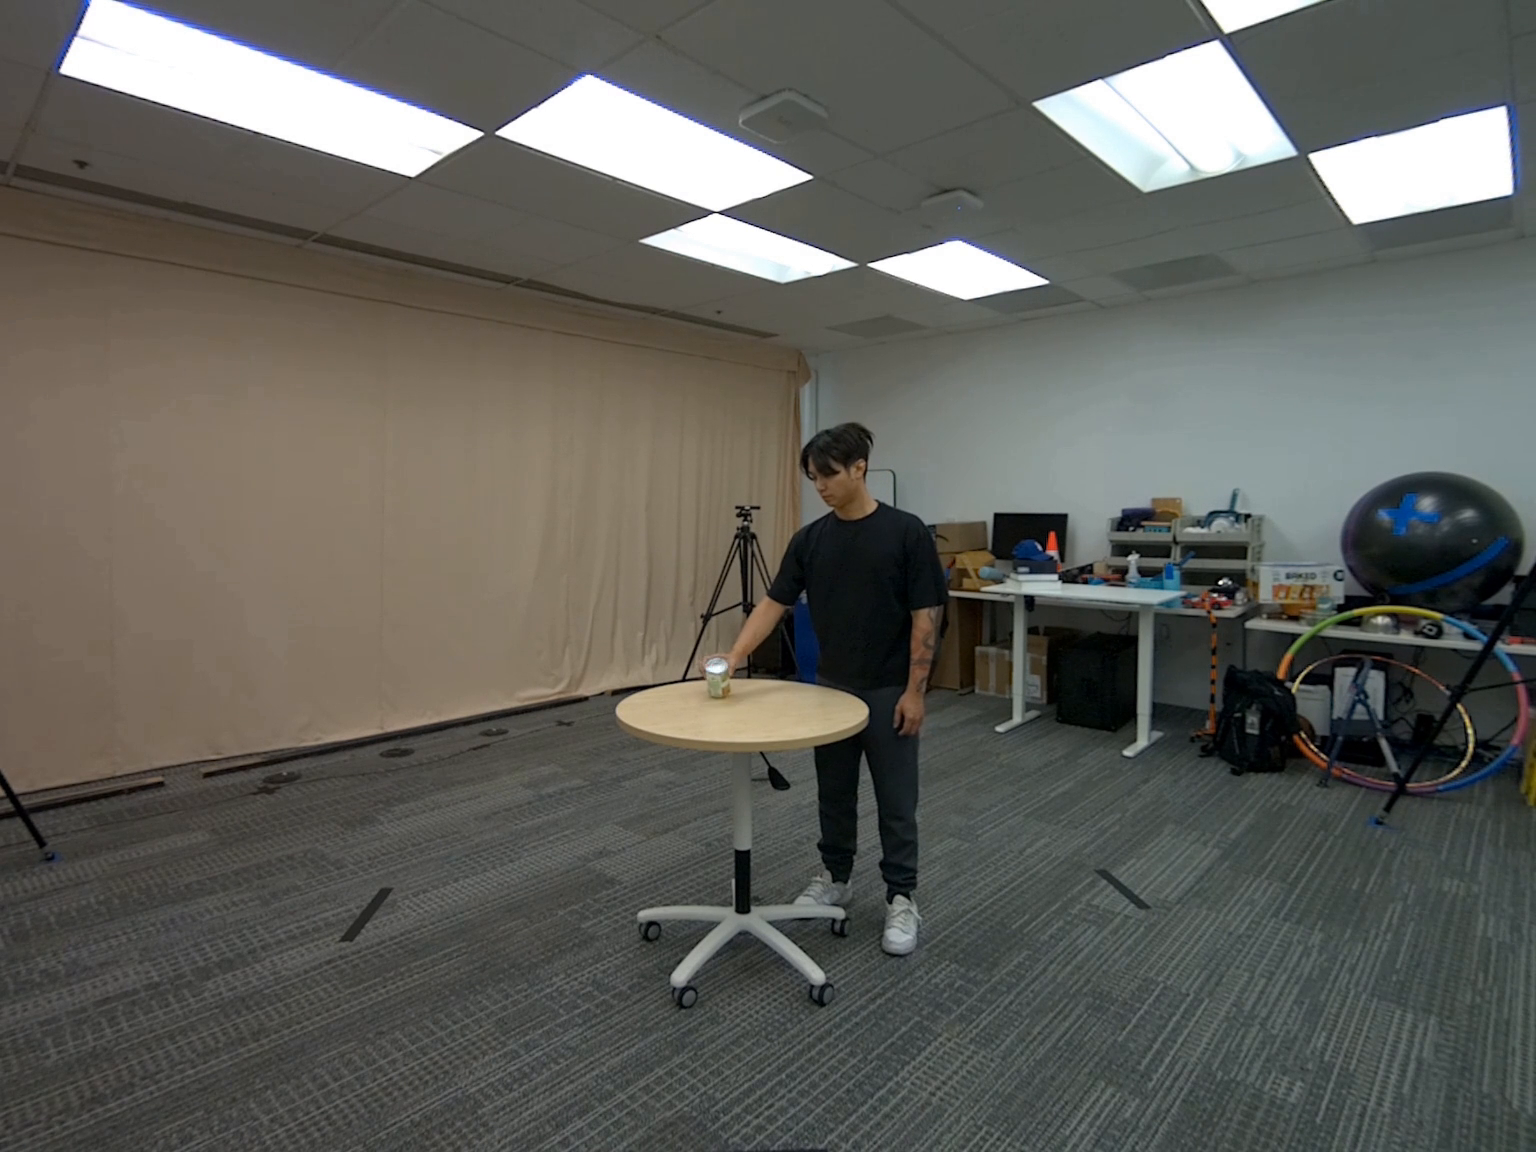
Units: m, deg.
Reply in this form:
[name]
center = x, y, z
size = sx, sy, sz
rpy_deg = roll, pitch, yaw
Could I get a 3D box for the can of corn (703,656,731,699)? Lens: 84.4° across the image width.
[can of corn]
center = -0.154, 0.332, 2.667
size = 0.074, 0.109, 0.075
rpy_deg = -3, 26, 0
